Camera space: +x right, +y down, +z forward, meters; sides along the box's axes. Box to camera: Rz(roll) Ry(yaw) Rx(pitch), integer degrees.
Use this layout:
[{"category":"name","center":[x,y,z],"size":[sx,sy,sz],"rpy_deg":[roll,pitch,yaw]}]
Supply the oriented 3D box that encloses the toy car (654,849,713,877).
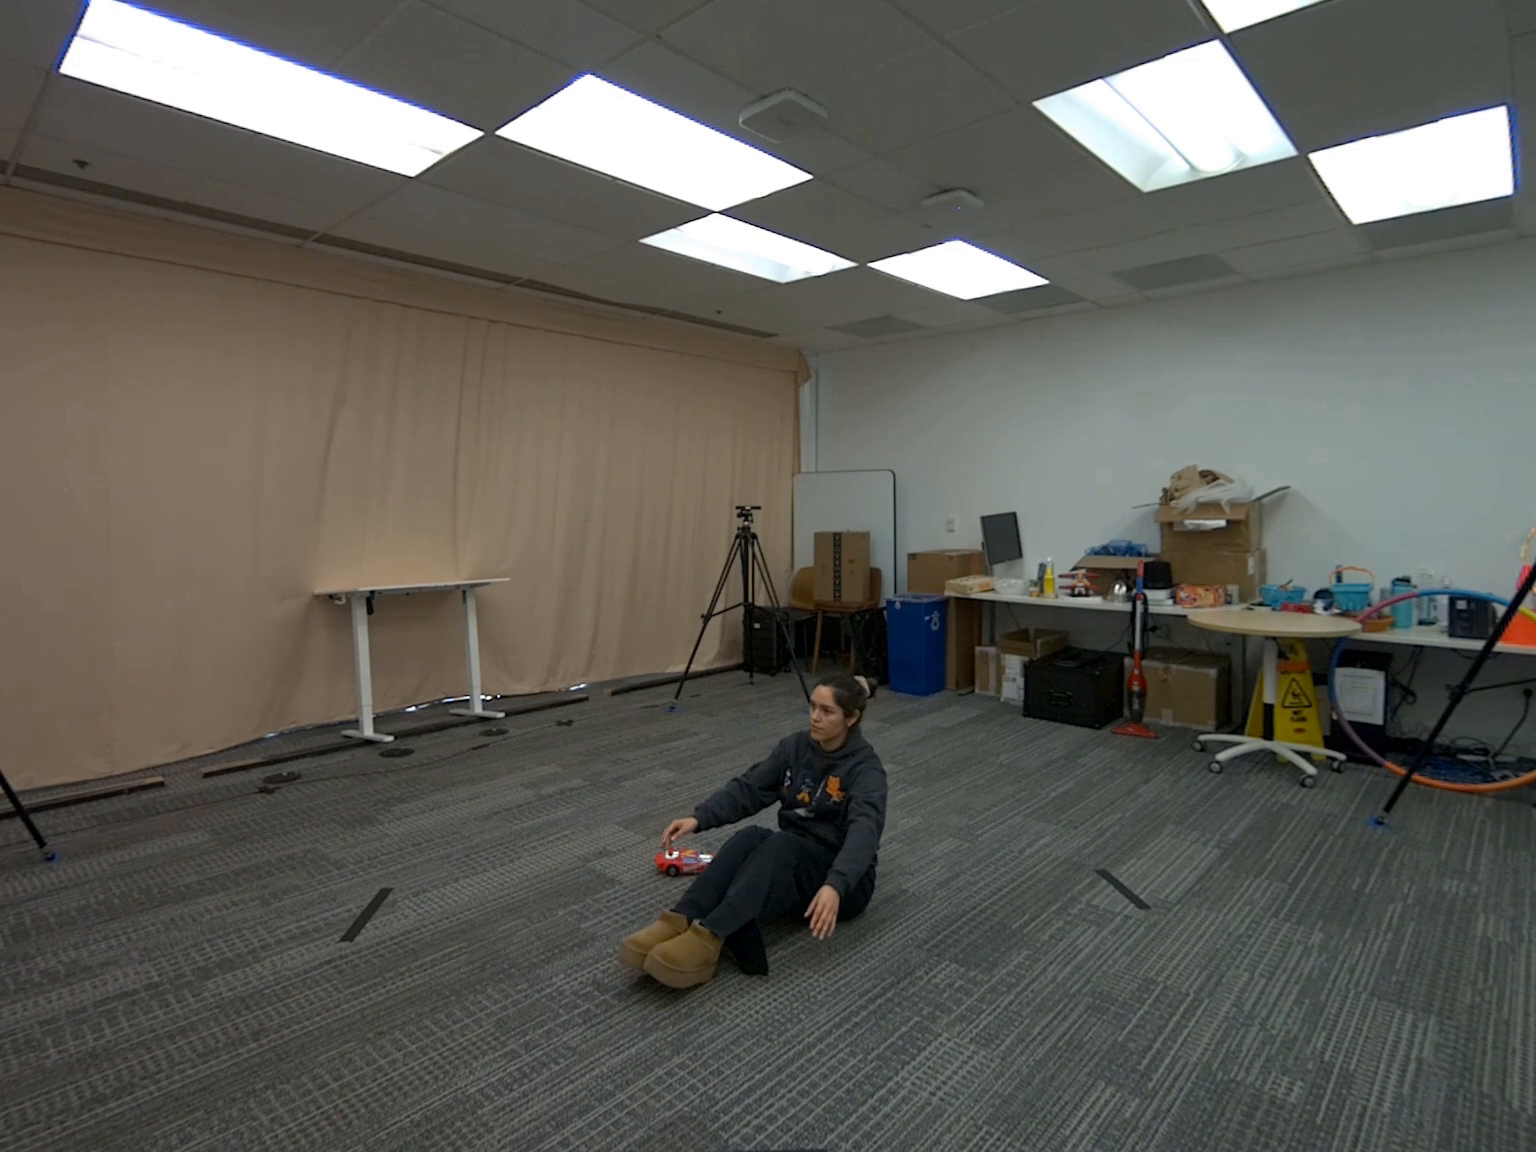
[{"category":"toy car","center":[-0.290,1.097,3.216],"size":[0.255,0.083,0.130],"rpy_deg":[11,4,0]}]
